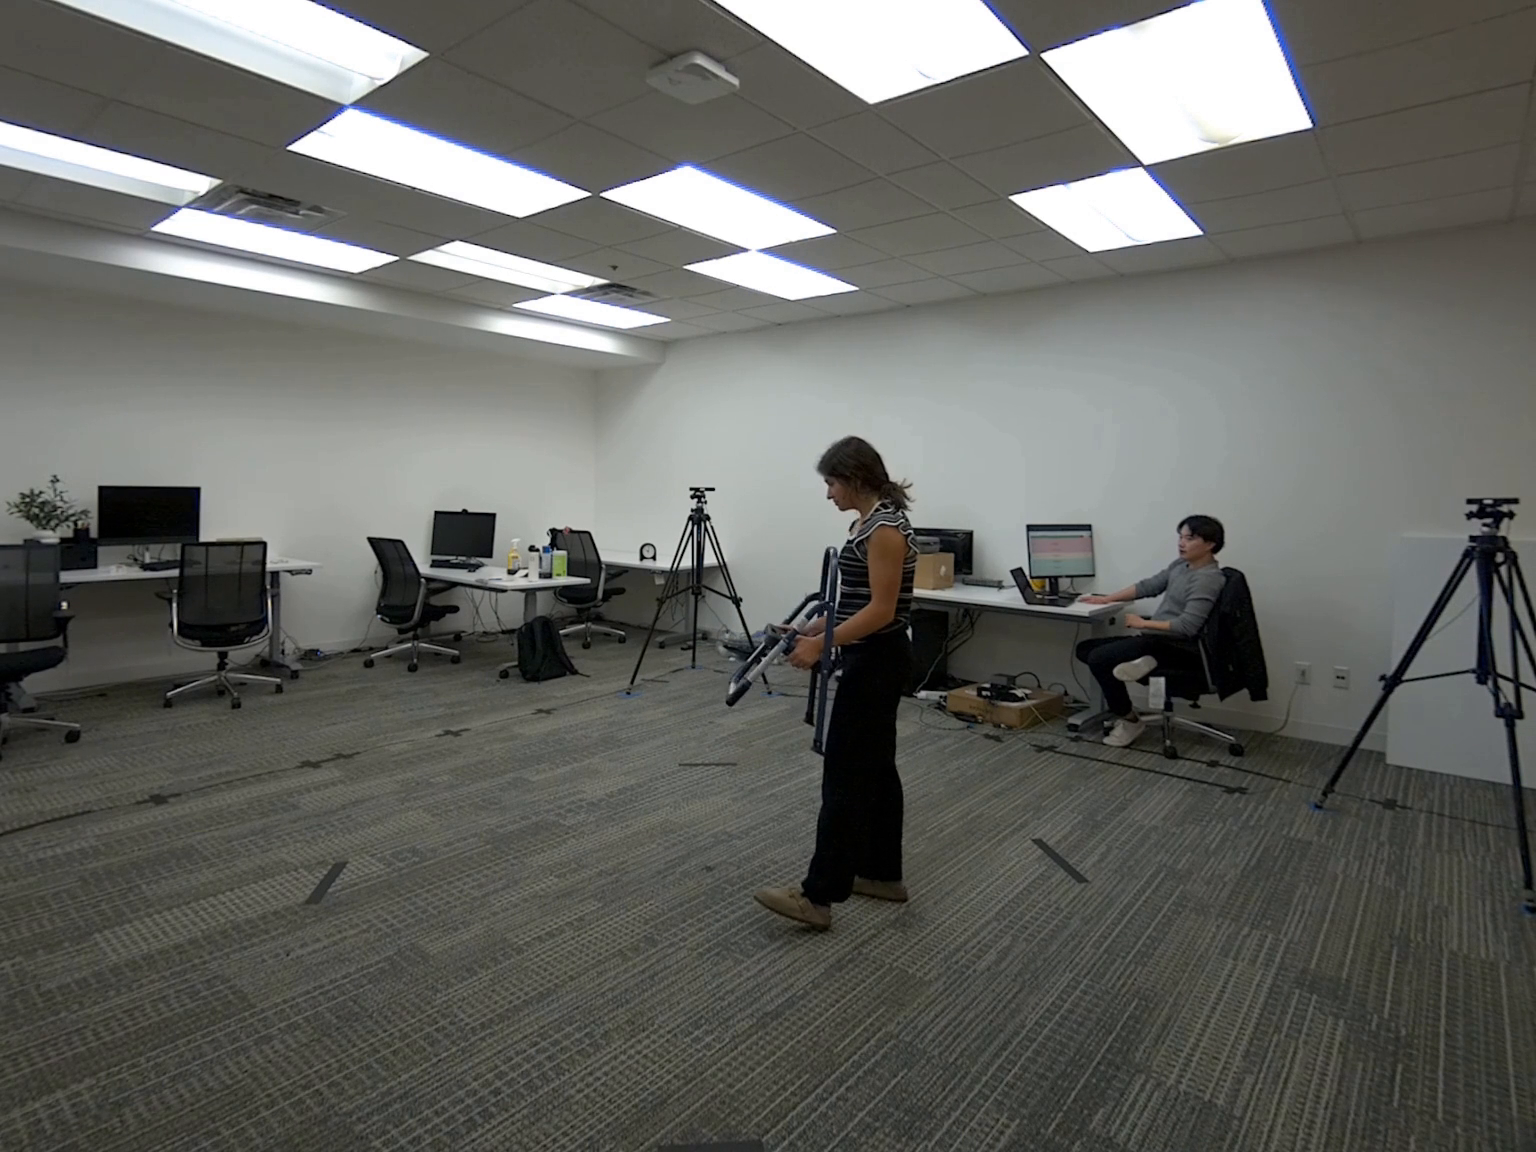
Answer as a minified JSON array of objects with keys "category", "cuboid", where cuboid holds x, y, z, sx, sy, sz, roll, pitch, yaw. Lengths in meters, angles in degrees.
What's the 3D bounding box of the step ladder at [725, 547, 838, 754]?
[{"category":"step ladder","cuboid":[0.137,0.205,2.893,0.350,0.606,0.431,27,1,-1]}]
